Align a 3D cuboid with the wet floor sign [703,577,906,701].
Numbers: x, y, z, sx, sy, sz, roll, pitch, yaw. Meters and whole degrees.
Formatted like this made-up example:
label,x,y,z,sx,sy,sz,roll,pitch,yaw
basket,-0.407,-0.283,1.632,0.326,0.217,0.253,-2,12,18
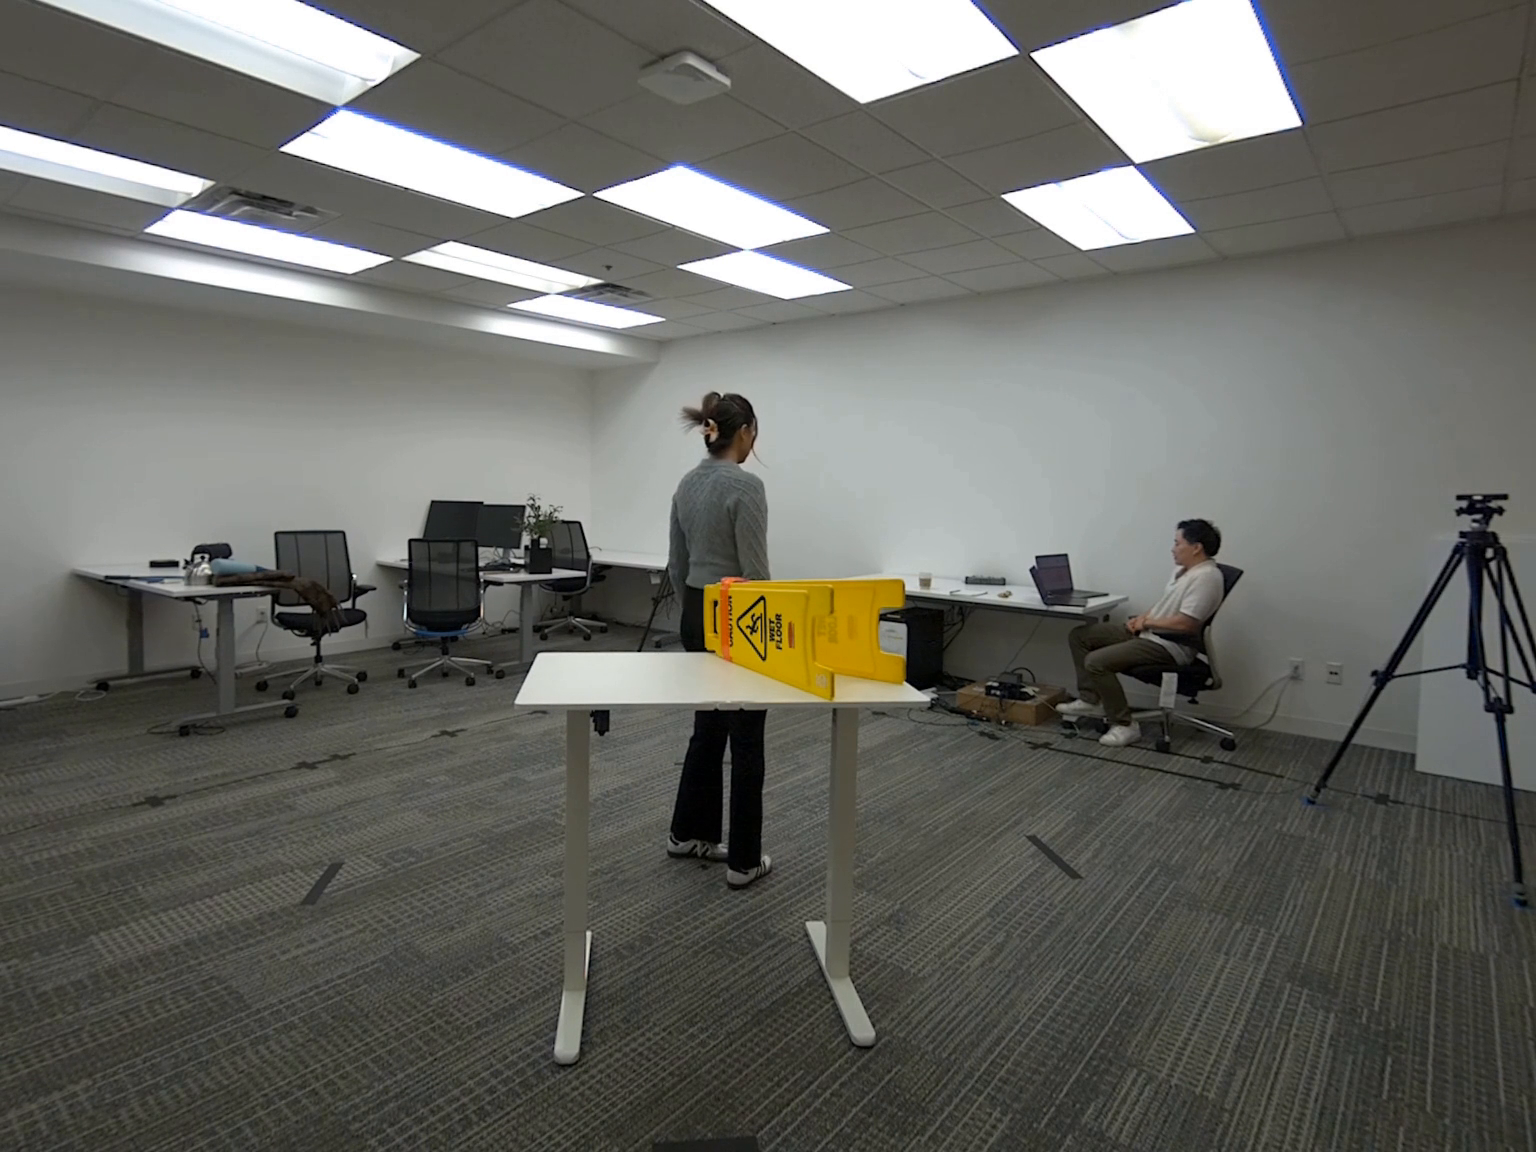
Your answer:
label,x,y,z,sx,sy,sz,roll,pitch,yaw
wet floor sign,0.028,0.140,2.391,0.281,0.281,0.667,-4,5,-43
